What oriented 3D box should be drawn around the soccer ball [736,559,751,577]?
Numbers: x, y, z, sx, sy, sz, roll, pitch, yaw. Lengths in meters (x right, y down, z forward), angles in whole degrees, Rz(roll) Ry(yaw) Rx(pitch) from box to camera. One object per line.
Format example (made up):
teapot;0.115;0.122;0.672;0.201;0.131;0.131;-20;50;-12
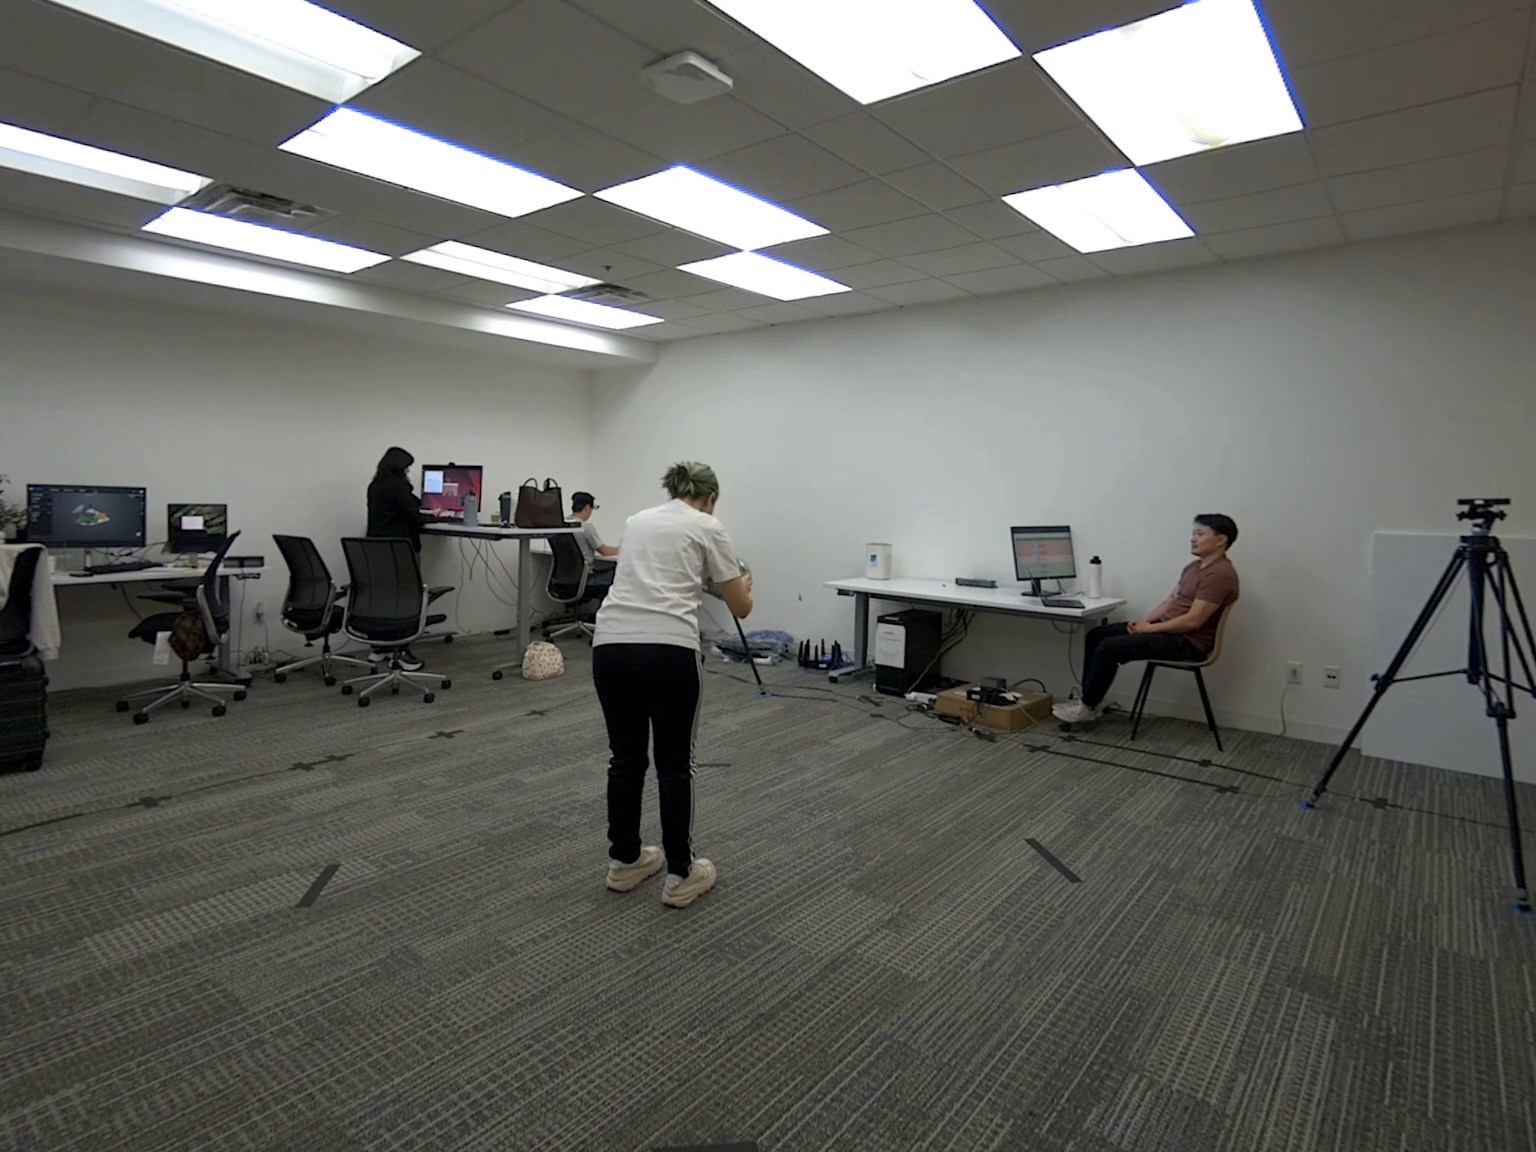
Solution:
soccer ball;-0.163;-0.033;3.395;0.187;0.187;0.188;1;4;-2
